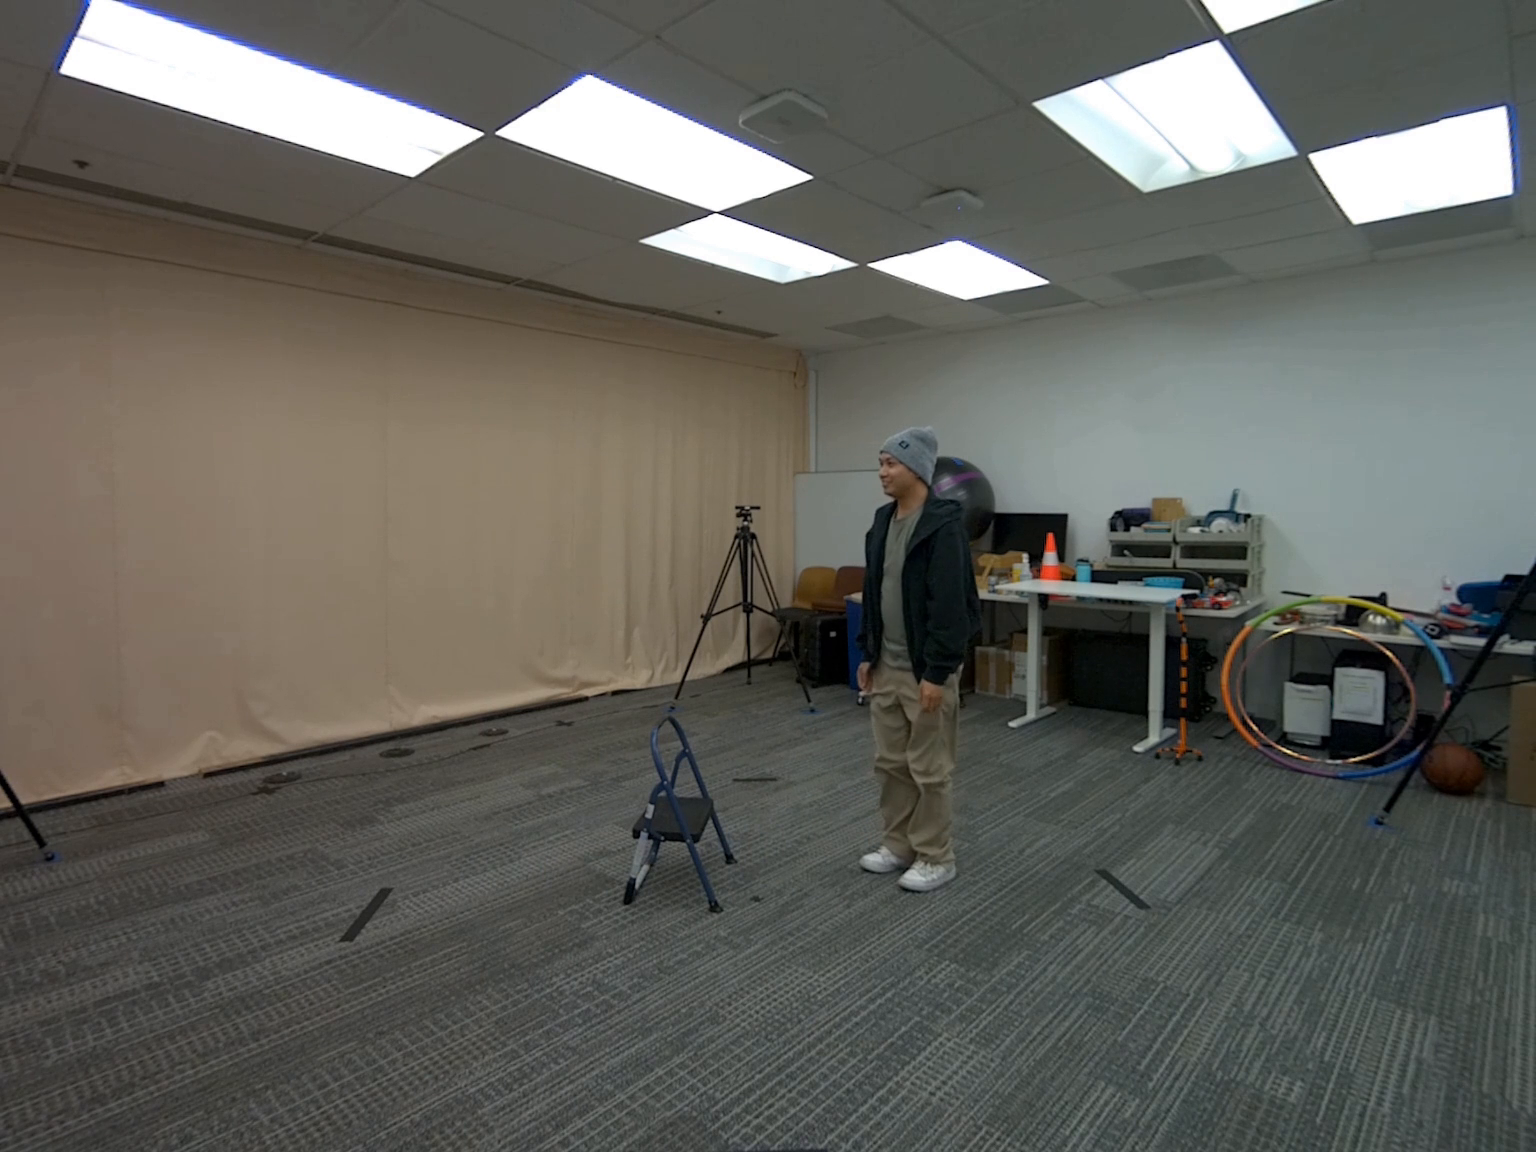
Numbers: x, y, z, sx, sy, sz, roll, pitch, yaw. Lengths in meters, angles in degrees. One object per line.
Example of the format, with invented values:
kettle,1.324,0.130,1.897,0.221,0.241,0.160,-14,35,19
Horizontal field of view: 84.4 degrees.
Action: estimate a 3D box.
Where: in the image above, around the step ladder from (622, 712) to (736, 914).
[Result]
step ladder,-0.317,0.837,3.109,0.352,0.604,0.428,0,4,7
